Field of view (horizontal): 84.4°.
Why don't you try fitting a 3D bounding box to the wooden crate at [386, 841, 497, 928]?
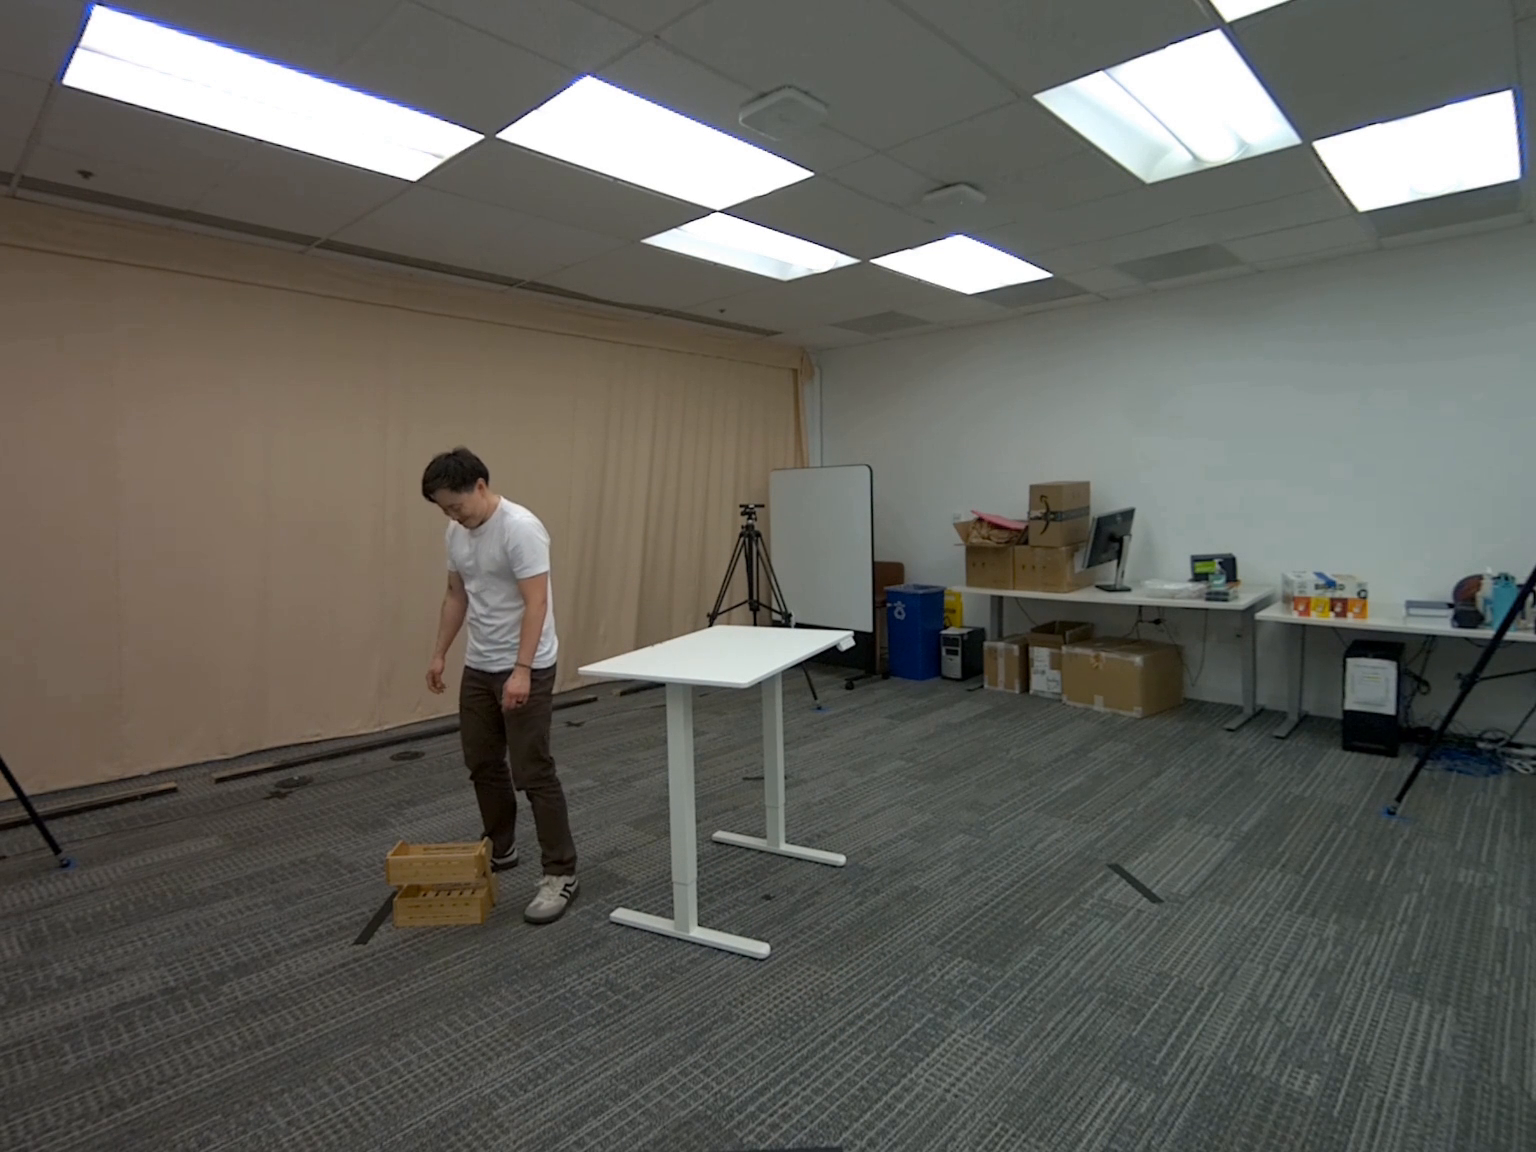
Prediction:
[{"bbox_3d":[-1.125,1.033,2.937,0.323,0.273,0.304,-1,3,-4],"label":"wooden crate"}]
